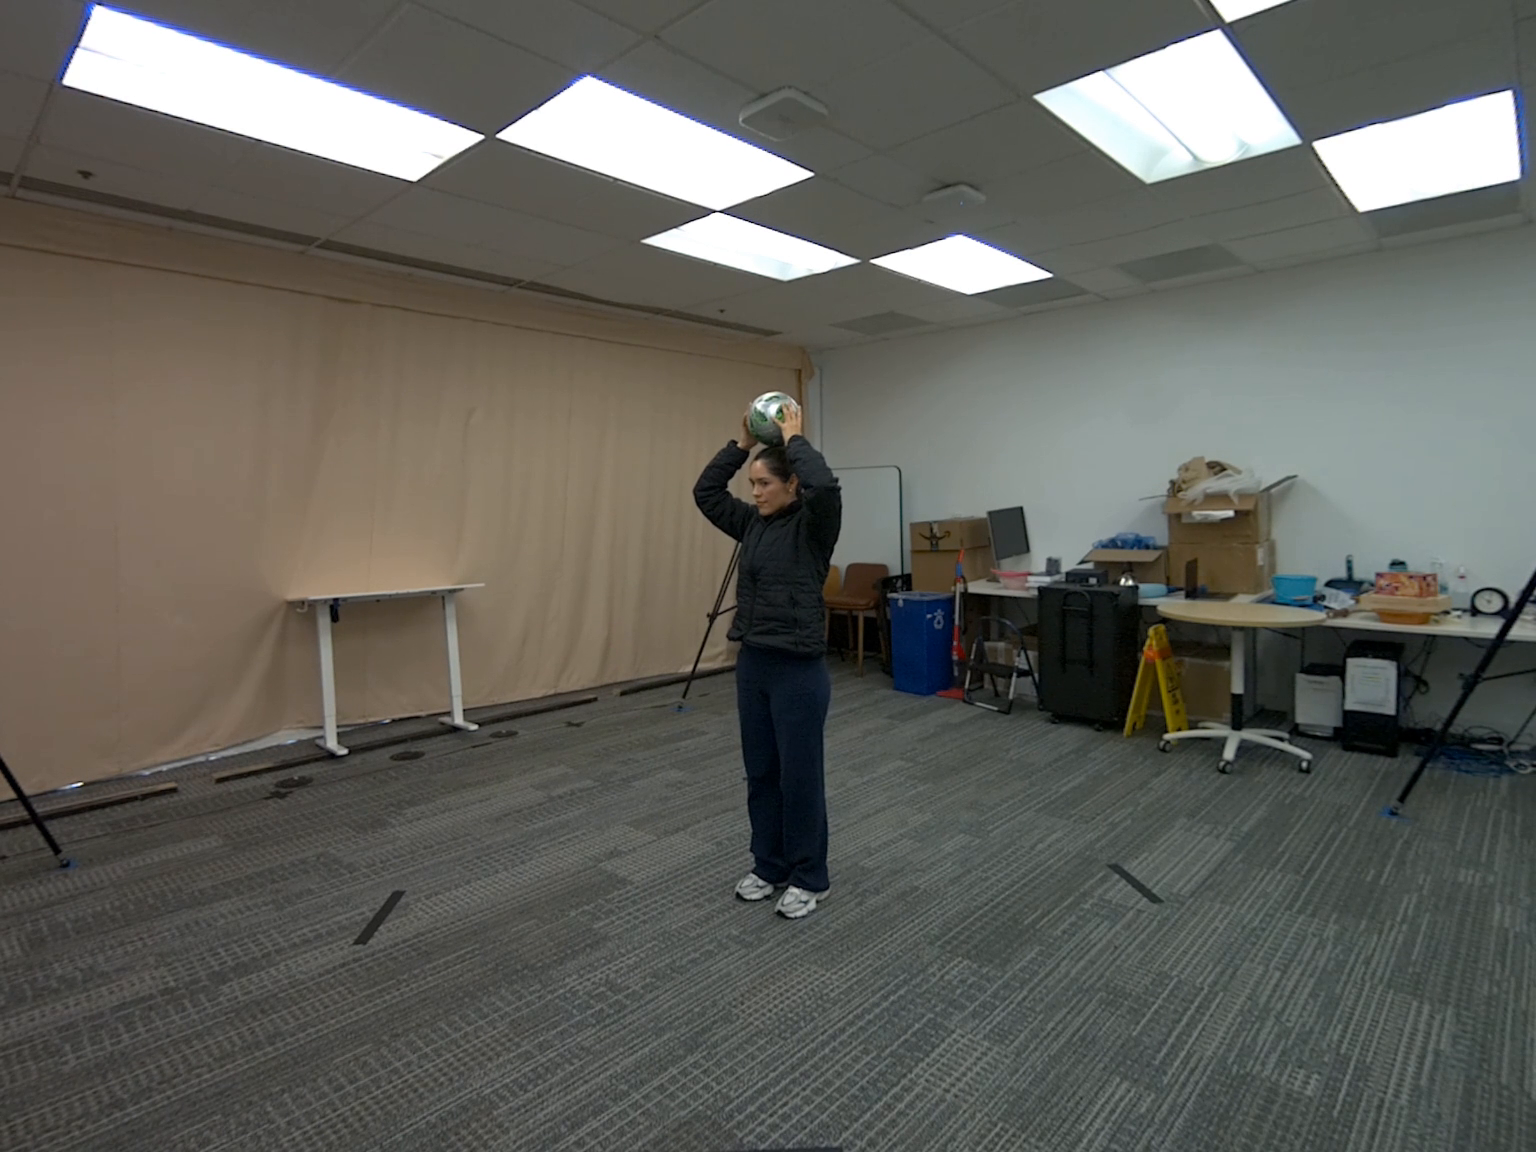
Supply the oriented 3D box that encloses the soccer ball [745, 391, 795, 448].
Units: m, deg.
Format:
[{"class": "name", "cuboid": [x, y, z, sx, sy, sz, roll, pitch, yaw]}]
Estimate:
[{"class": "soccer ball", "cuboid": [0.027, -0.539, 2.909, 0.187, 0.187, 0.188, -1, 4, -2]}]
